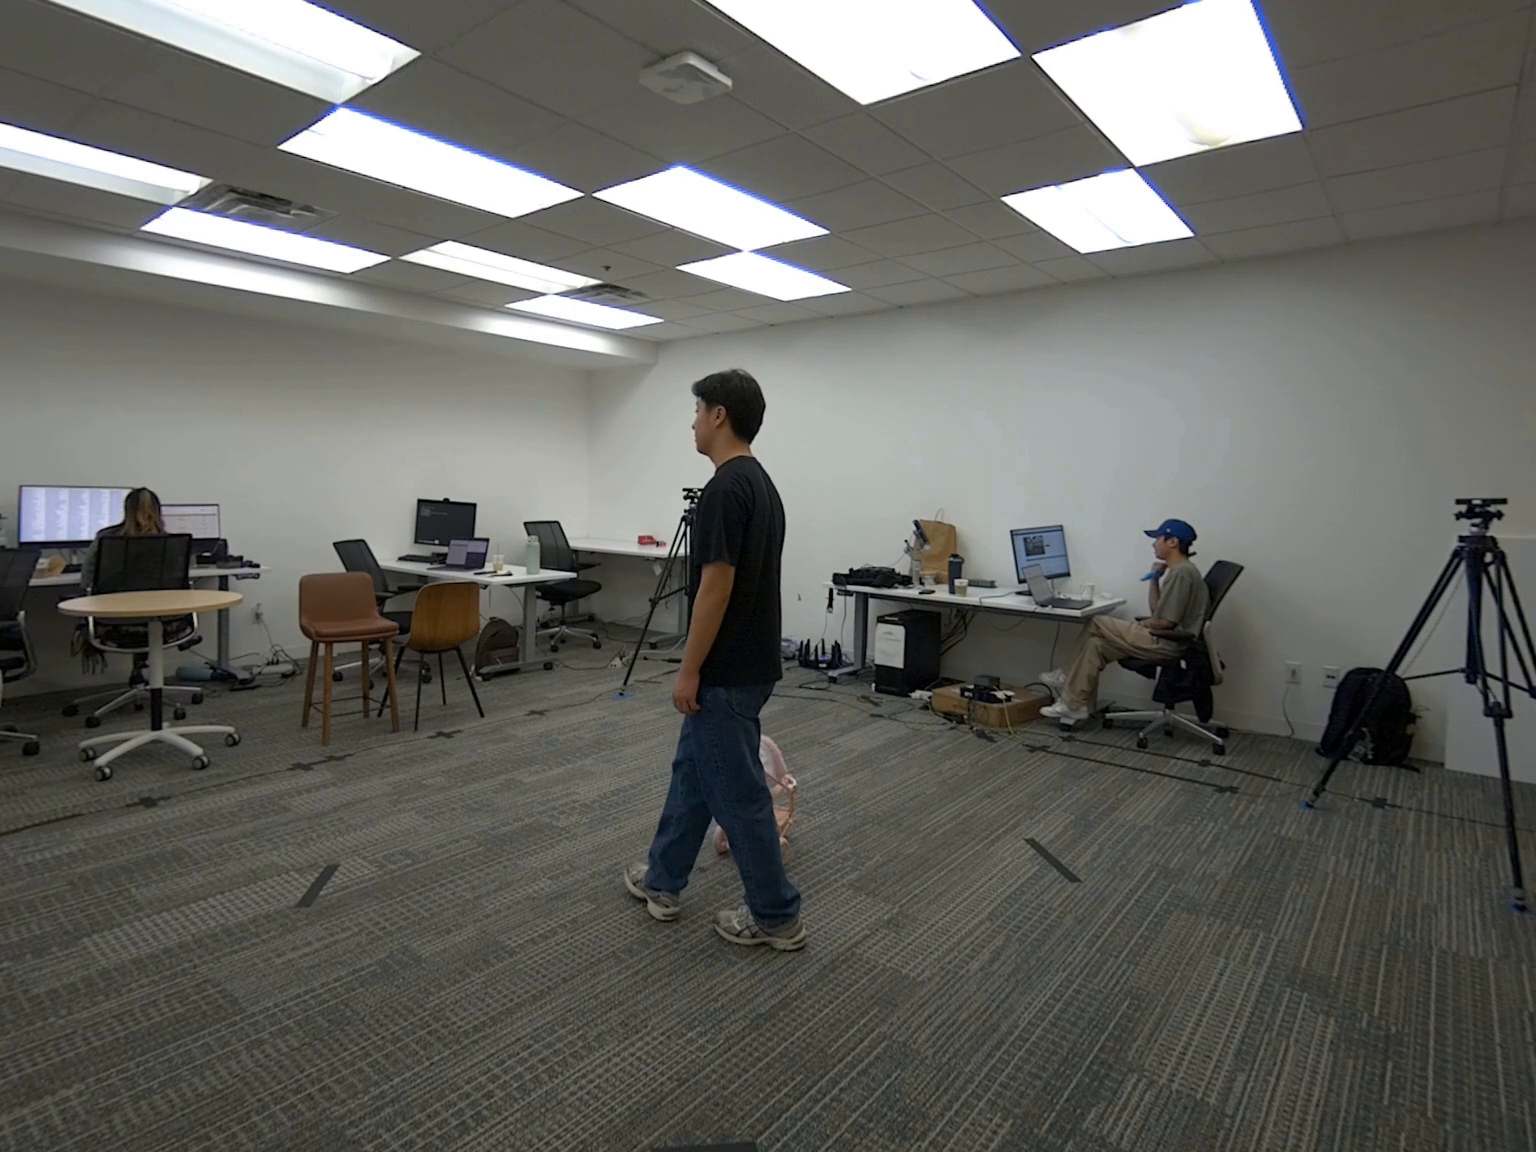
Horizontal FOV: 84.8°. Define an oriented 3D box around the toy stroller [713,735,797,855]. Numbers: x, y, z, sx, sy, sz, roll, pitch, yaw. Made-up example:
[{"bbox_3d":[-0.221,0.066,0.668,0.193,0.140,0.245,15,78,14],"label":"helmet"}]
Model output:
[{"bbox_3d":[-0.034,0.834,3.243,0.290,0.525,0.336,5,21,34],"label":"toy stroller"}]
